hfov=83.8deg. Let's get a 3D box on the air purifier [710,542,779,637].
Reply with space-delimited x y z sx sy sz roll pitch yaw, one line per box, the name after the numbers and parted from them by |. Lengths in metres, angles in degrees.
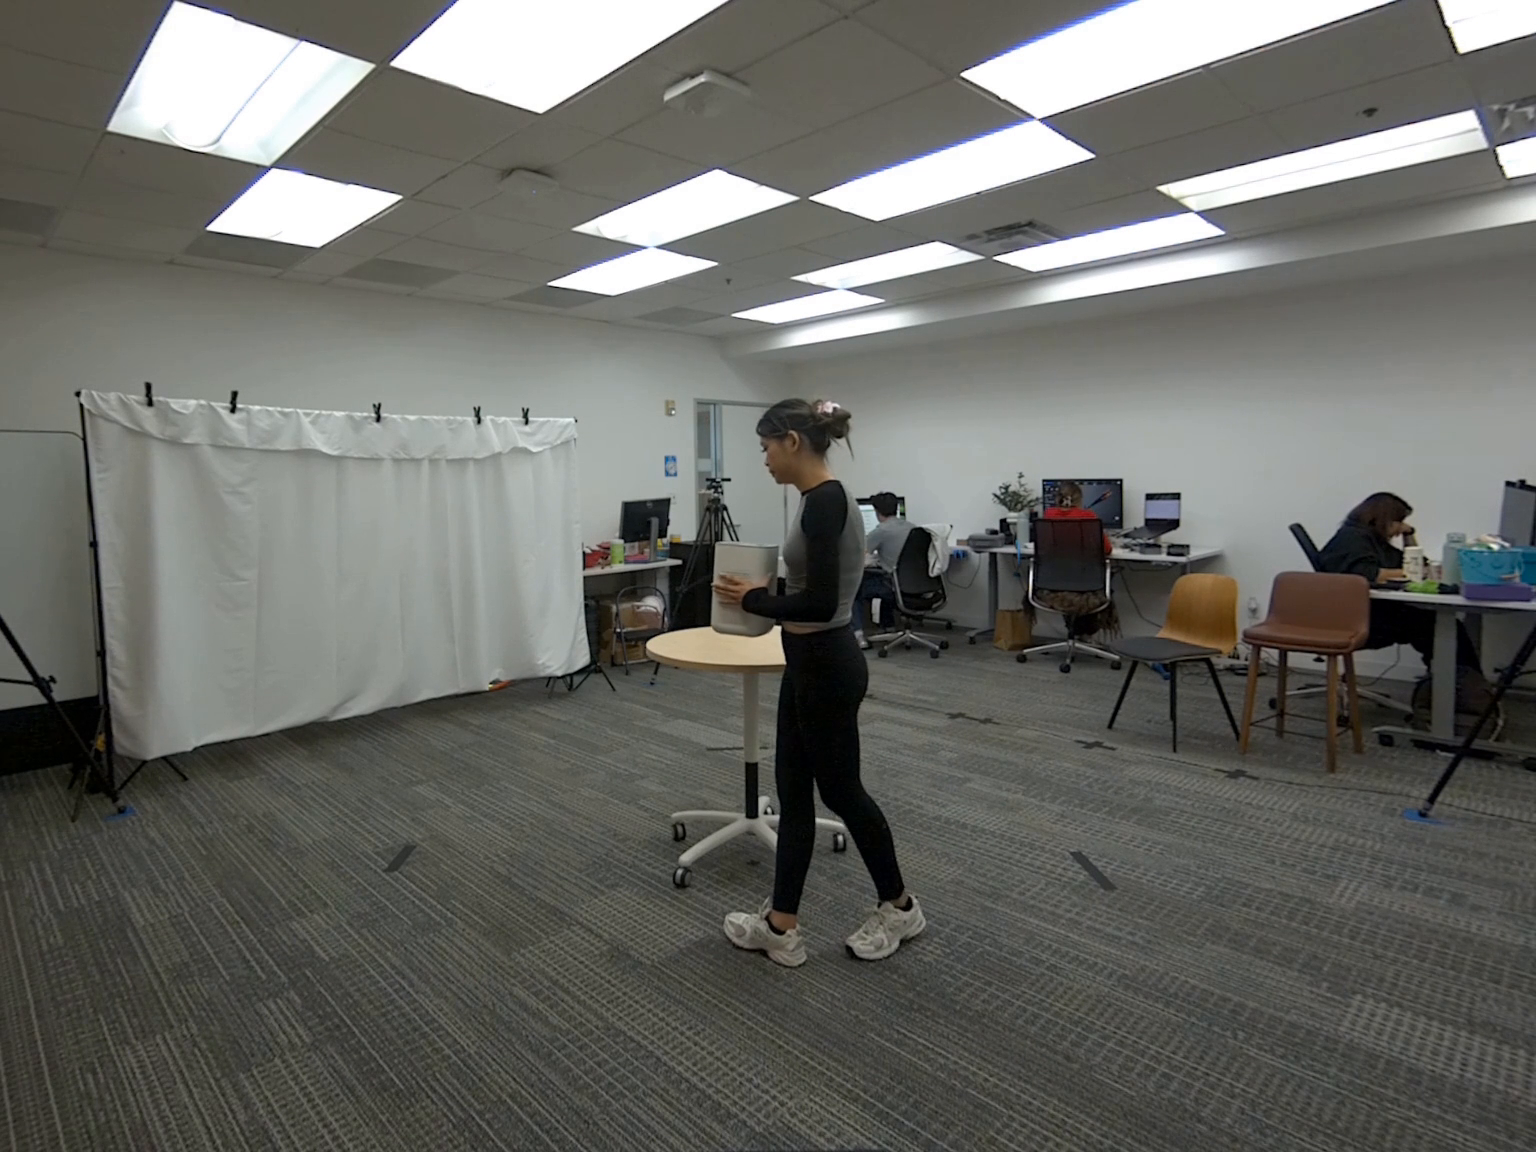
-0.070 0.038 2.522 0.175 0.265 0.168 5 2 19 | air purifier
